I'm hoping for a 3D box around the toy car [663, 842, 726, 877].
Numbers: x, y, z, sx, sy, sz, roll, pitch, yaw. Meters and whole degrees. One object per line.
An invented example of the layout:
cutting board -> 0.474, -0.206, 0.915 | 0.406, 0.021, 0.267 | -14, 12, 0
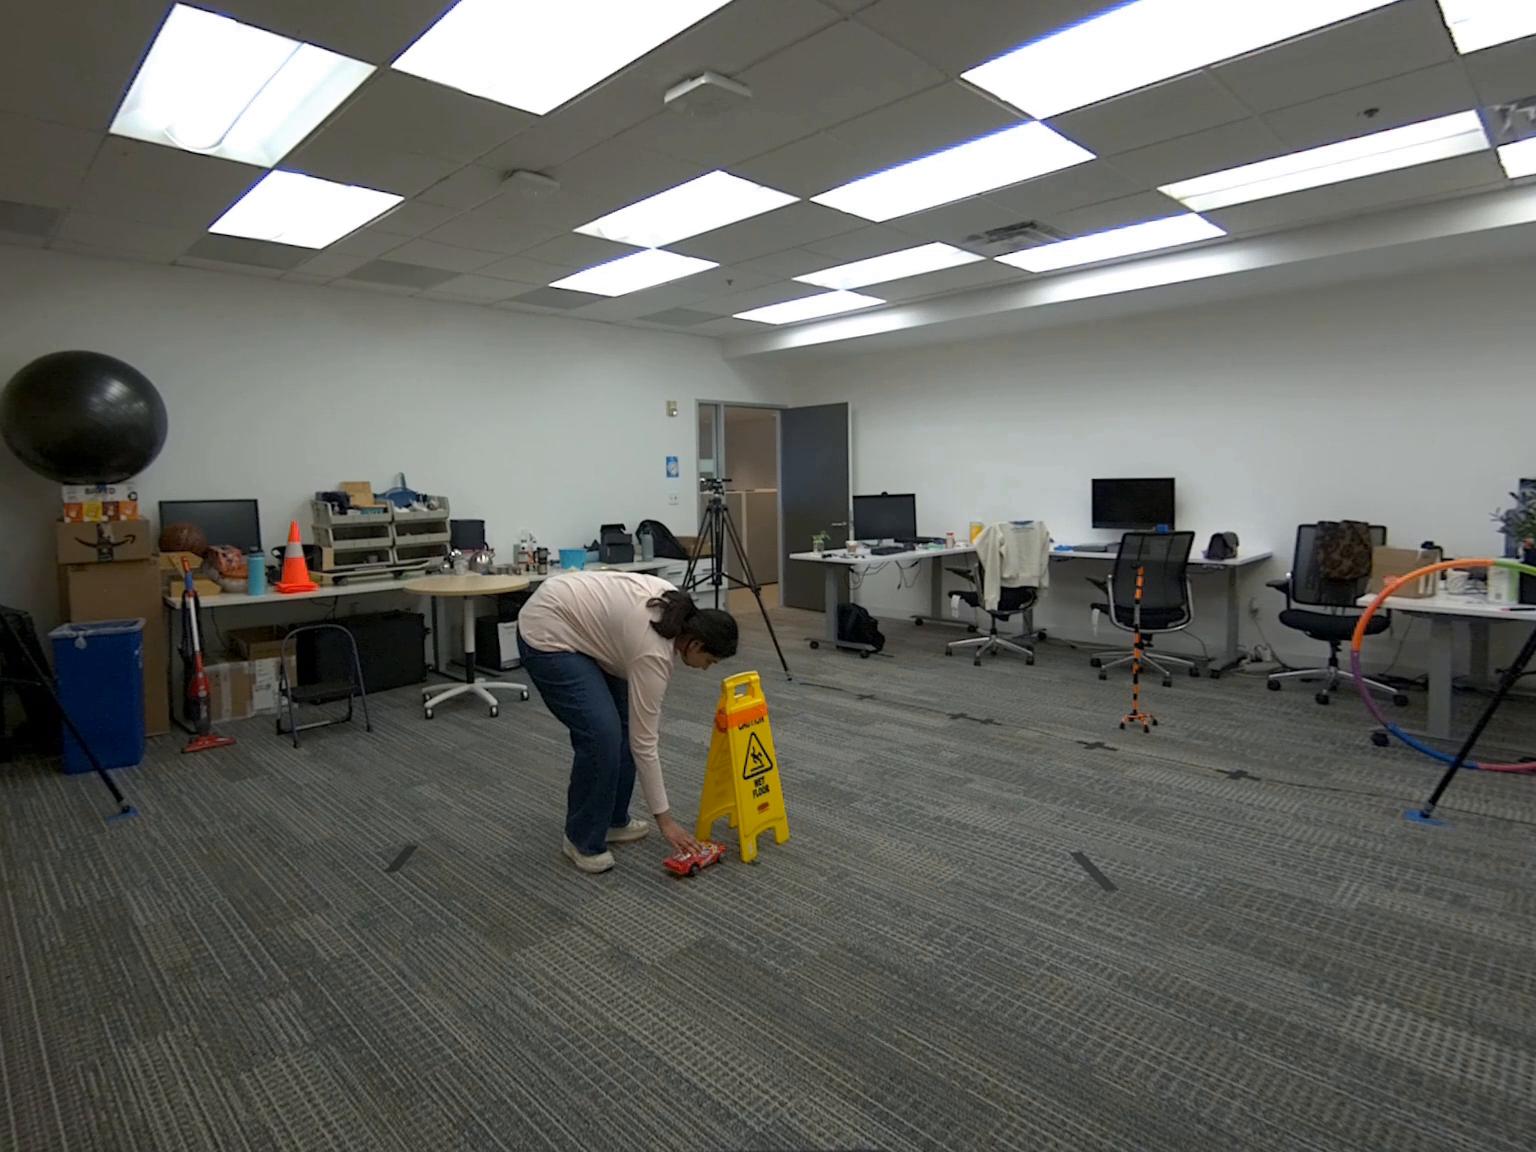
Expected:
toy car -> -0.271, 1.015, 3.076 | 0.134, 0.083, 0.246 | 4, -4, 43
